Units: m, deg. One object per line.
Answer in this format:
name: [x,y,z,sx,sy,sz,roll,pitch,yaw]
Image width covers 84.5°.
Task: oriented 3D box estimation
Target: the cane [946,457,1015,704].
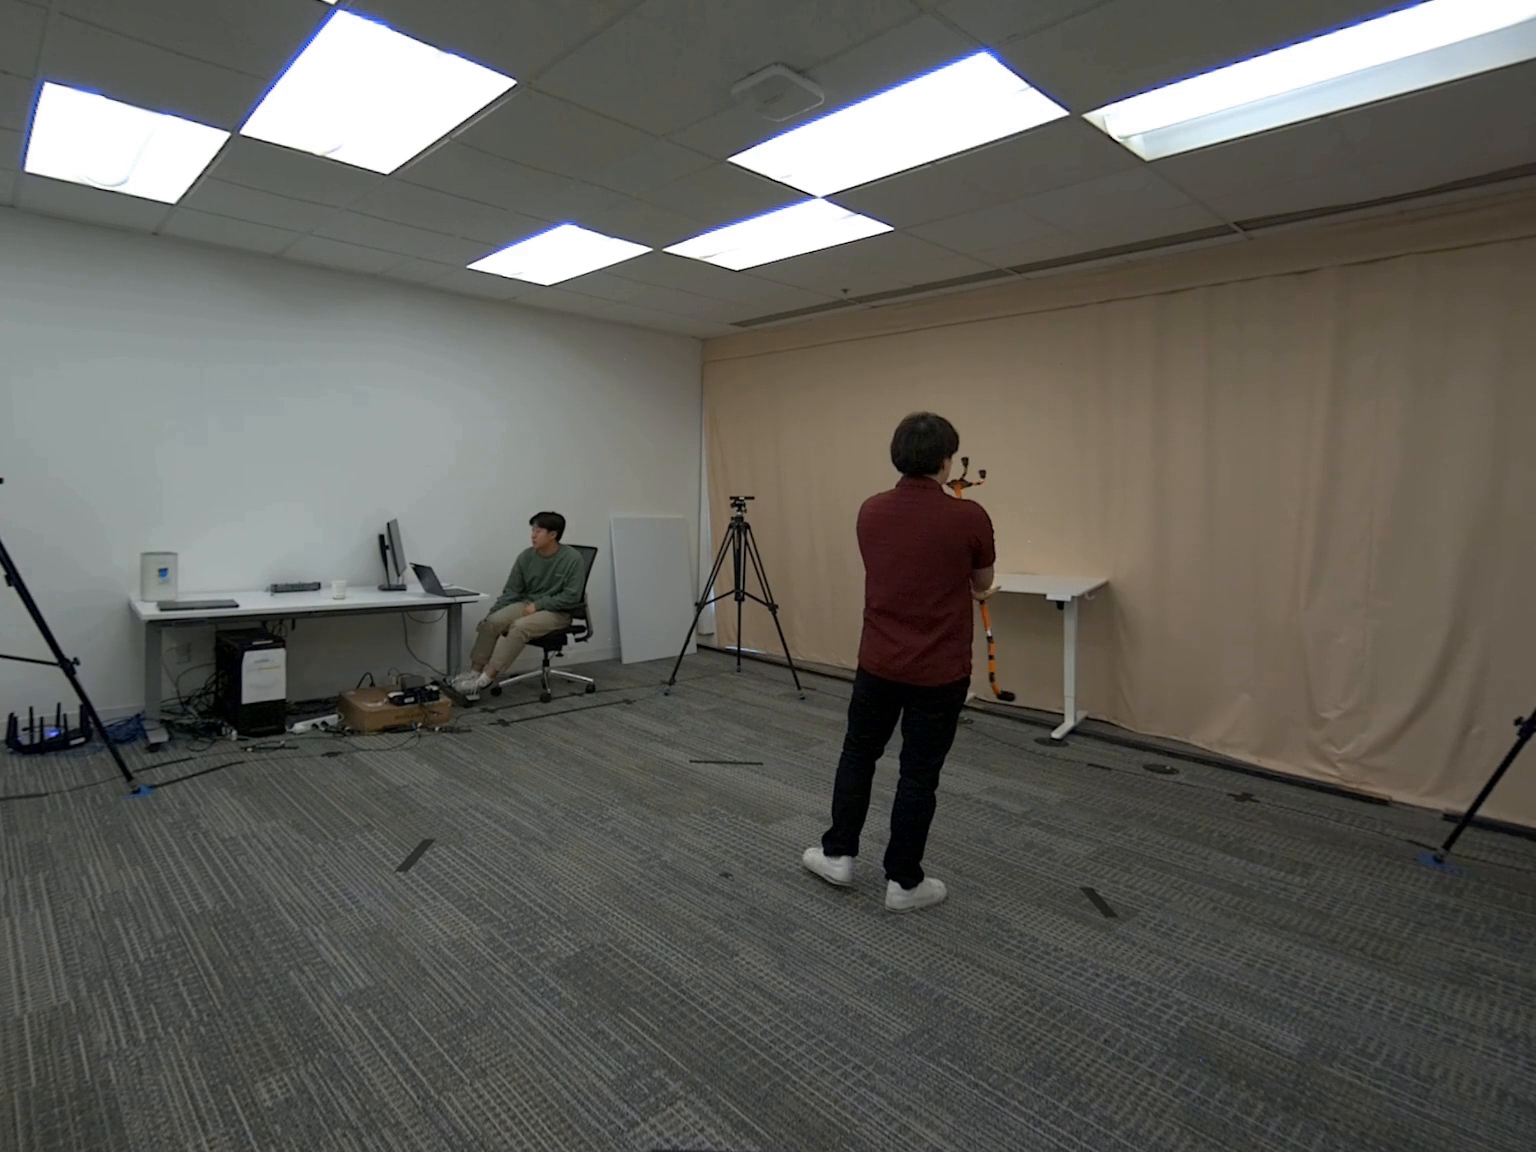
cane: [0.799,0.015,3.189,0.154,0.922,0.200,-21,-24,36]
